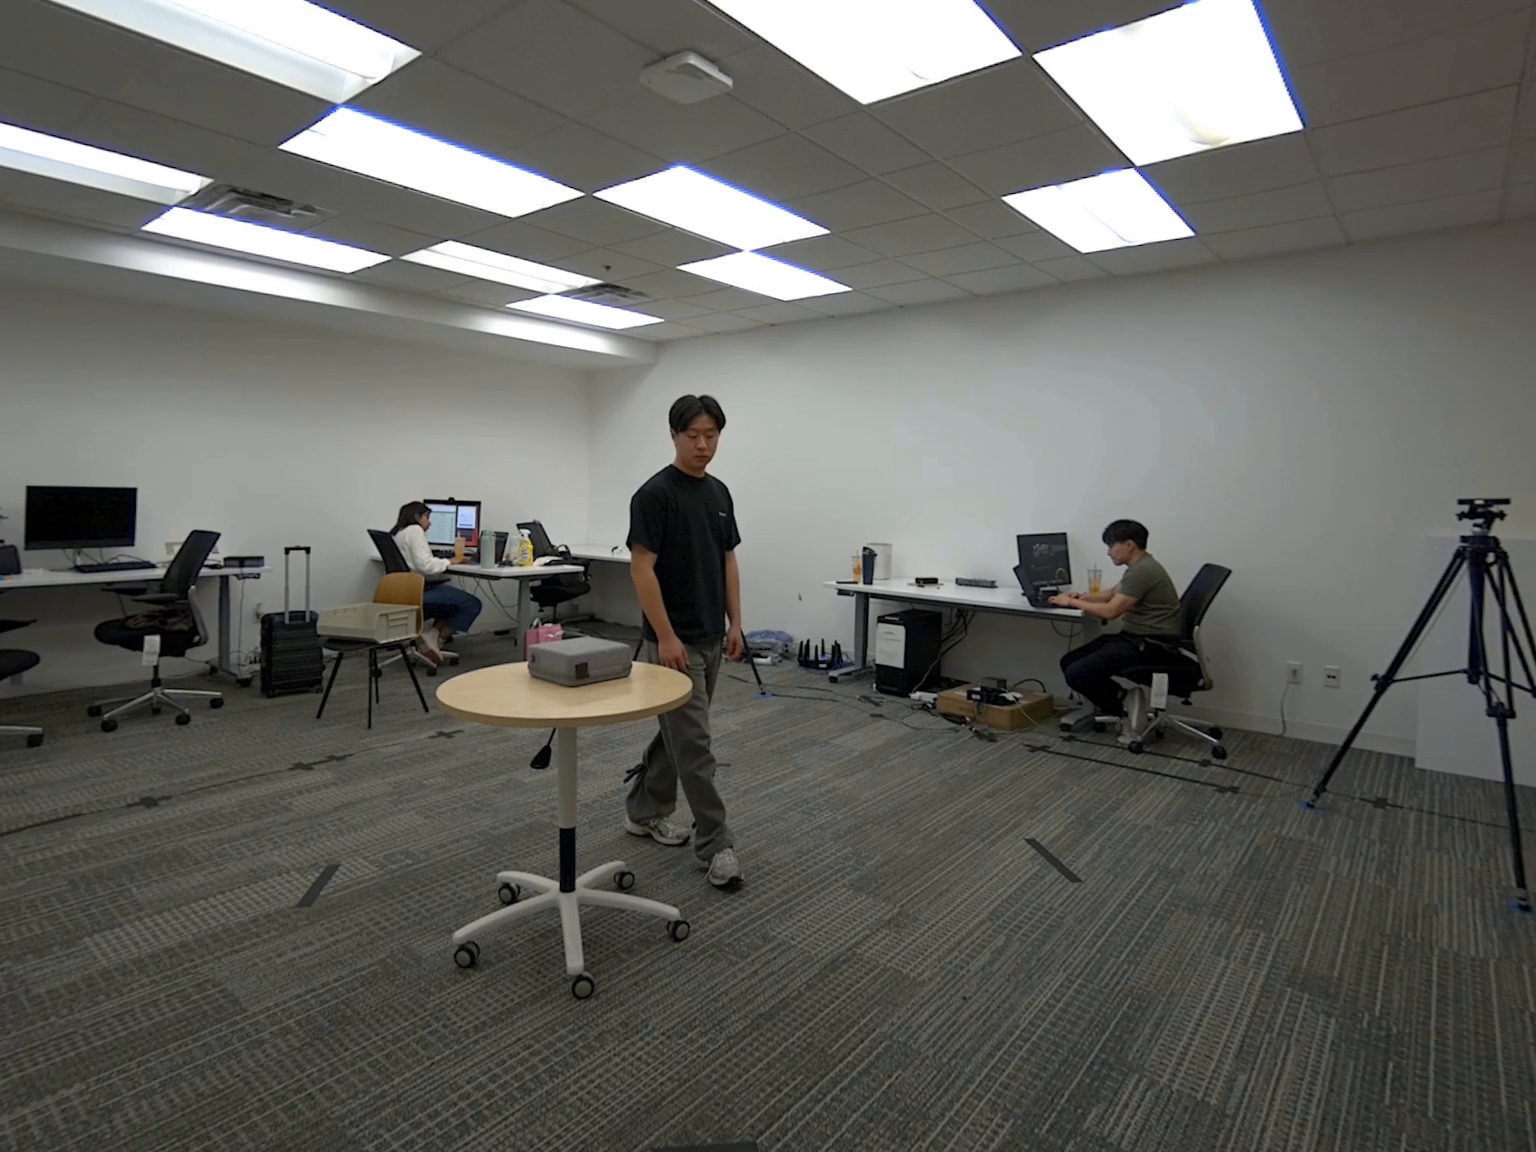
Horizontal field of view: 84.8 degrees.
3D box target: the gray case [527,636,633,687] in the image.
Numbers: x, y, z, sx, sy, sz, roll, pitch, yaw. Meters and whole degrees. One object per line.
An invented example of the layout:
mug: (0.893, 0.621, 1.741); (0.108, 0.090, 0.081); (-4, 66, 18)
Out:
gray case: (-0.618, 0.265, 2.722); (0.297, 0.102, 0.255); (6, 9, 43)
